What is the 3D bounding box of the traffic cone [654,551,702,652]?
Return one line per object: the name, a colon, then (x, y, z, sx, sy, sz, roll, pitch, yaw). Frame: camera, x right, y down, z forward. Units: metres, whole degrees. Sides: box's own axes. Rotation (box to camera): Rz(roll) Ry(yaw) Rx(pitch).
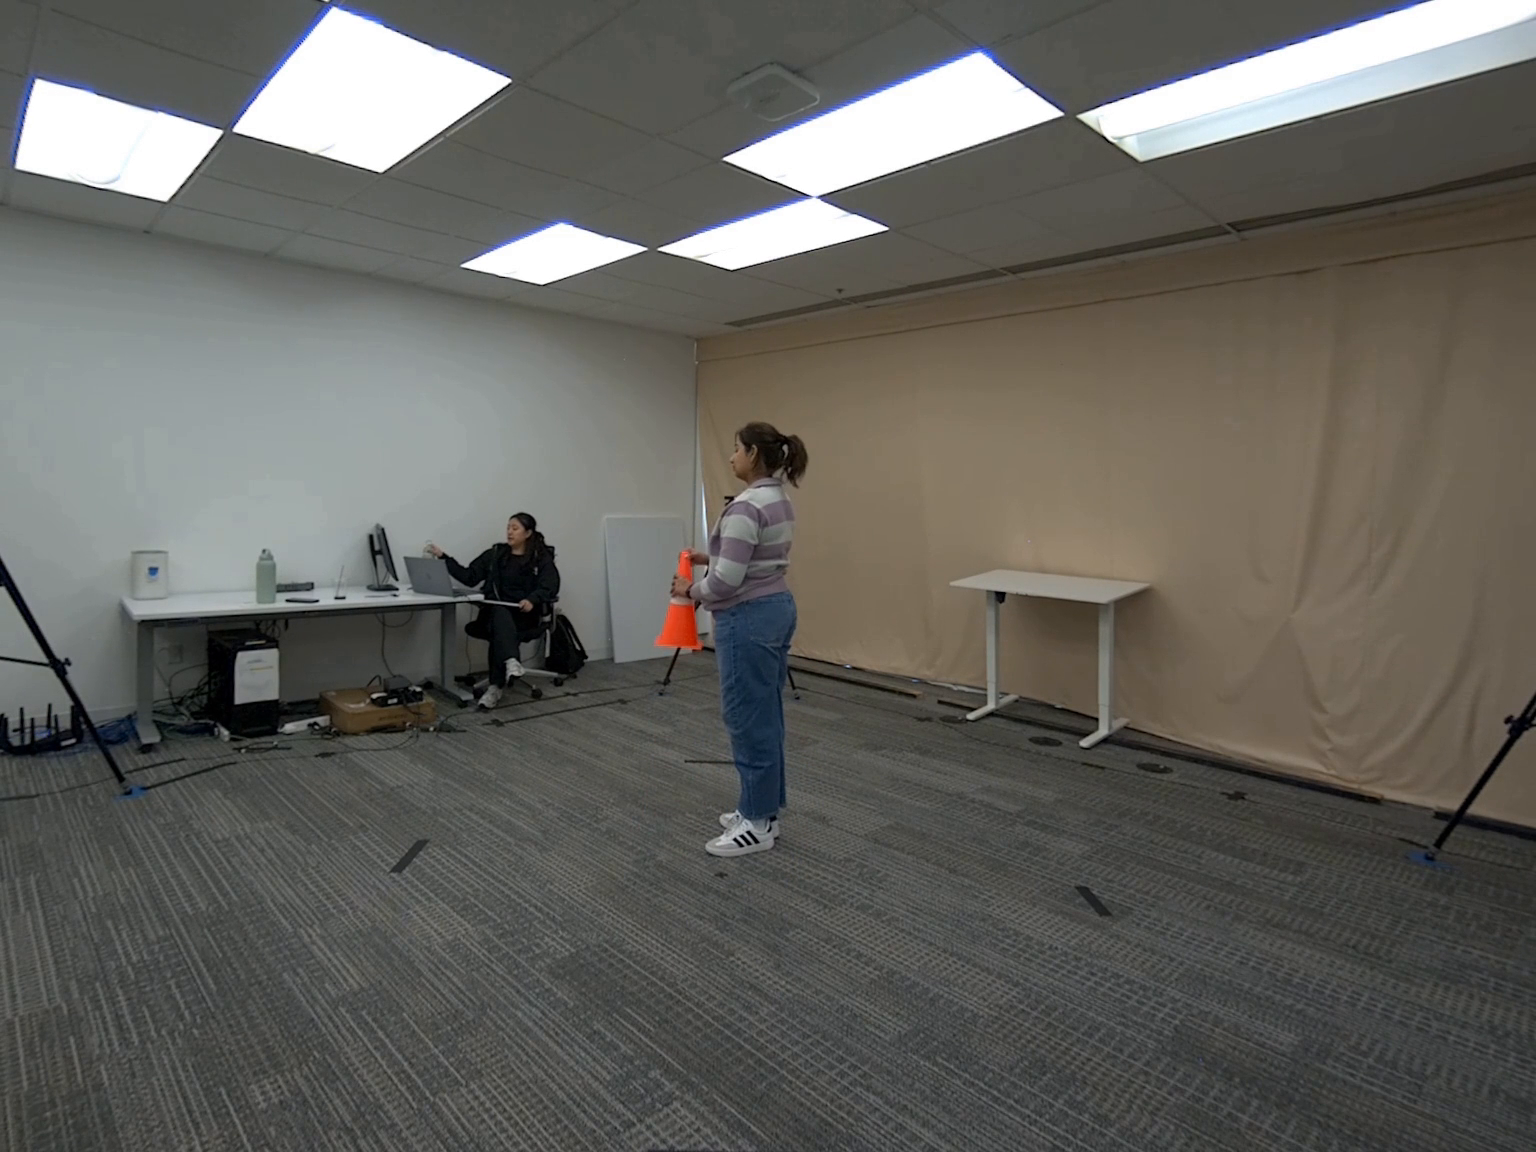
traffic cone: (-0.359, 0.090, 3.483, 0.202, 0.383, 0.206, 3, 3, -7)
